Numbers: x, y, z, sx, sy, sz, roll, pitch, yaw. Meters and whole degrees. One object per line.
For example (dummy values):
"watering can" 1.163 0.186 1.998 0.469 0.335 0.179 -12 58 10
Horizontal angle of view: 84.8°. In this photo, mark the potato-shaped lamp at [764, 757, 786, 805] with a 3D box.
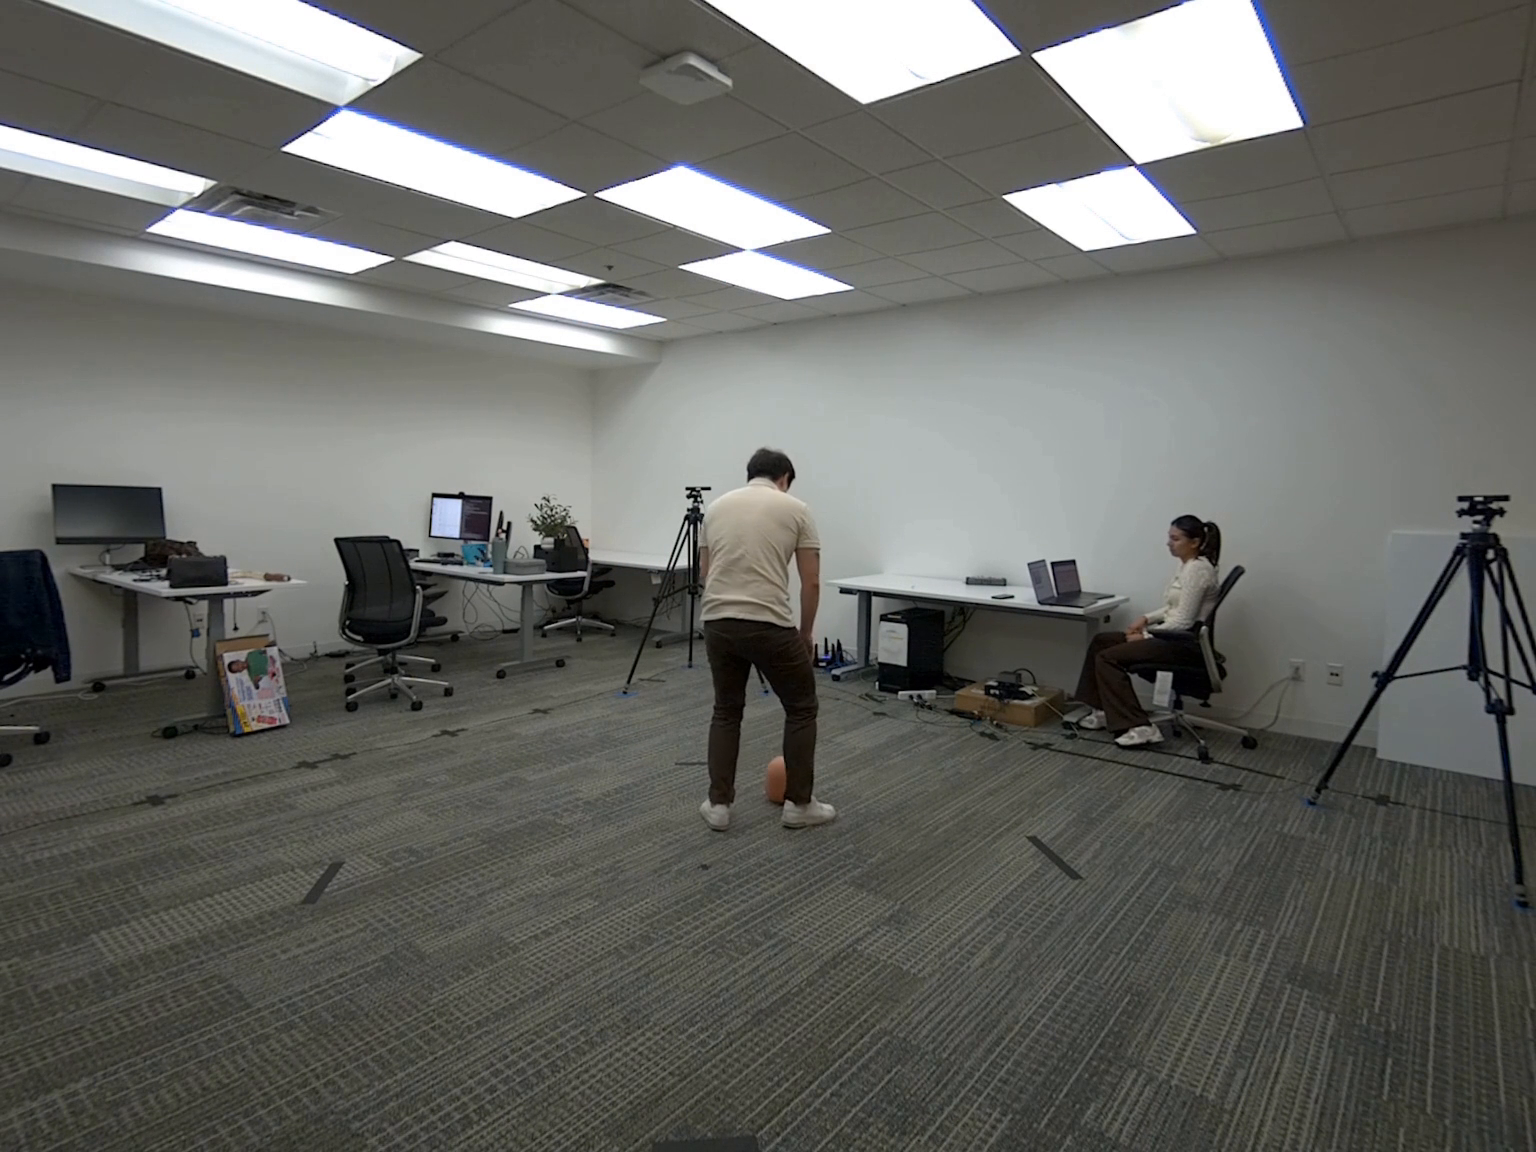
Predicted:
"potato-shaped lamp" 0.058 0.899 3.800 0.169 0.197 0.168 4 8 28
